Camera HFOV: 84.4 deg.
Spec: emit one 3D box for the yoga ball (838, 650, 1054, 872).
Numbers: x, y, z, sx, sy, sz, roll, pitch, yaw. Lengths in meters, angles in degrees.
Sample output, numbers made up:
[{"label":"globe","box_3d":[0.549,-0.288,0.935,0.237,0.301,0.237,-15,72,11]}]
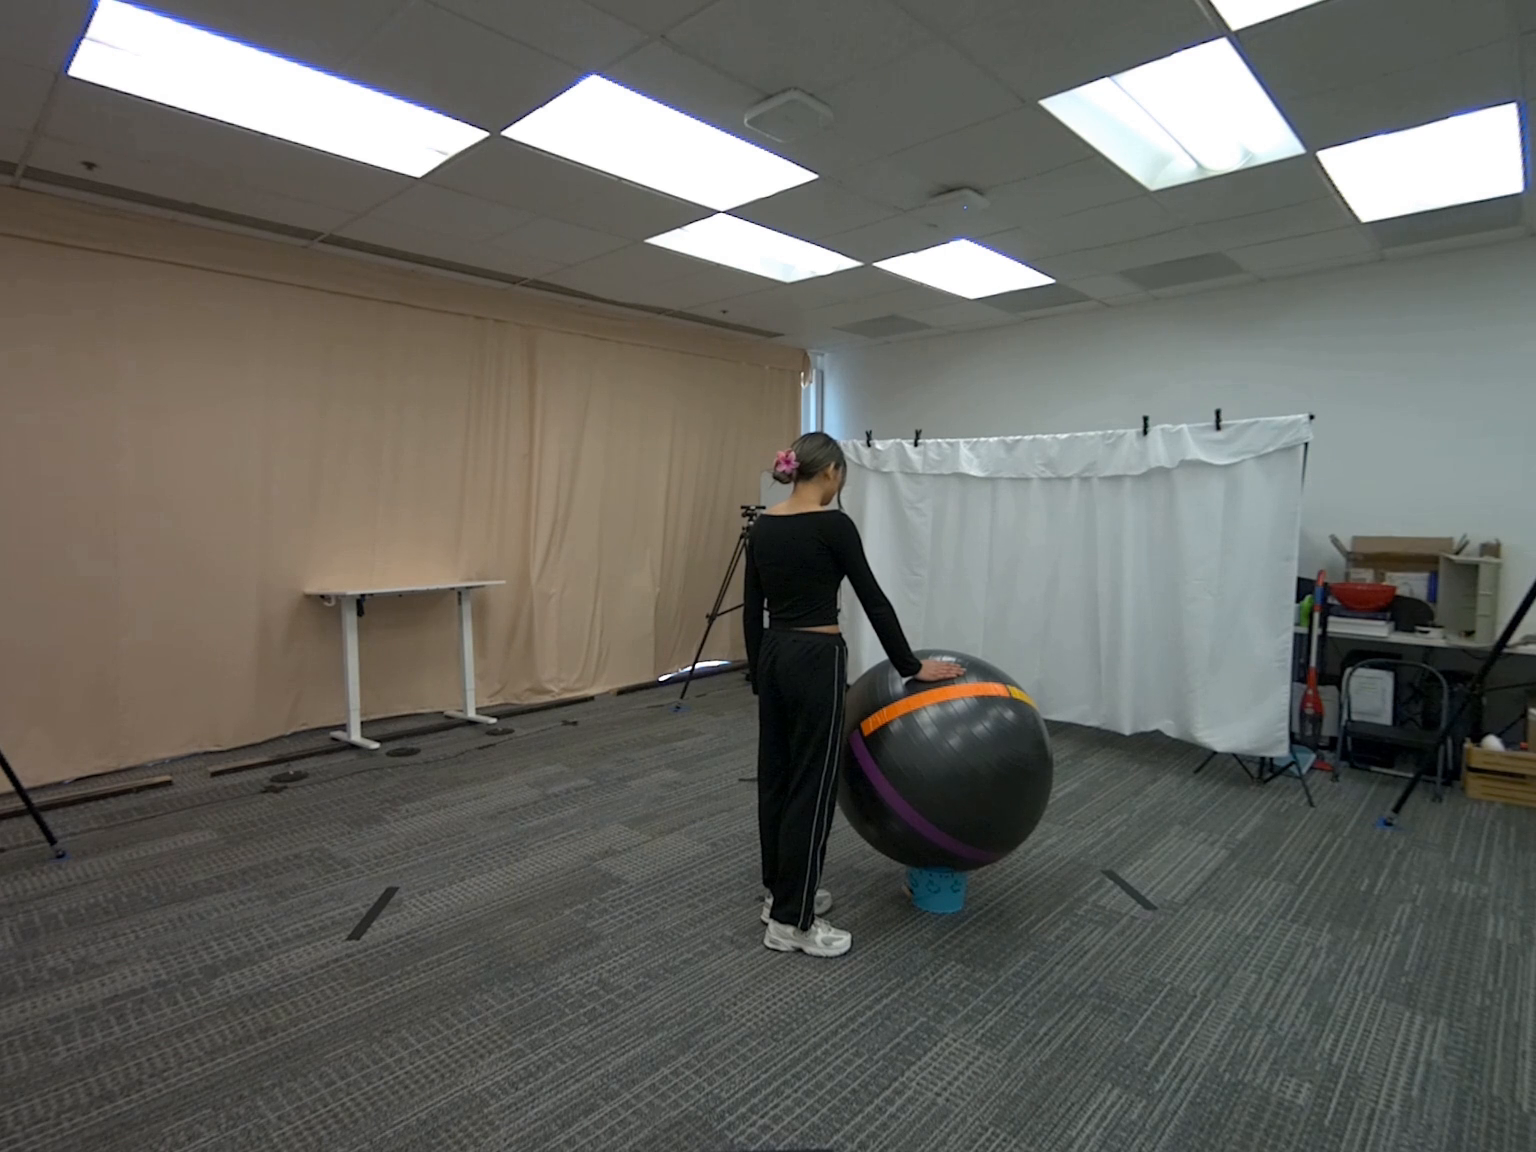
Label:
[{"label":"yoga ball","box_3d":[0.605,0.638,2.946,0.757,0.756,0.760,0,4,-2]}]
